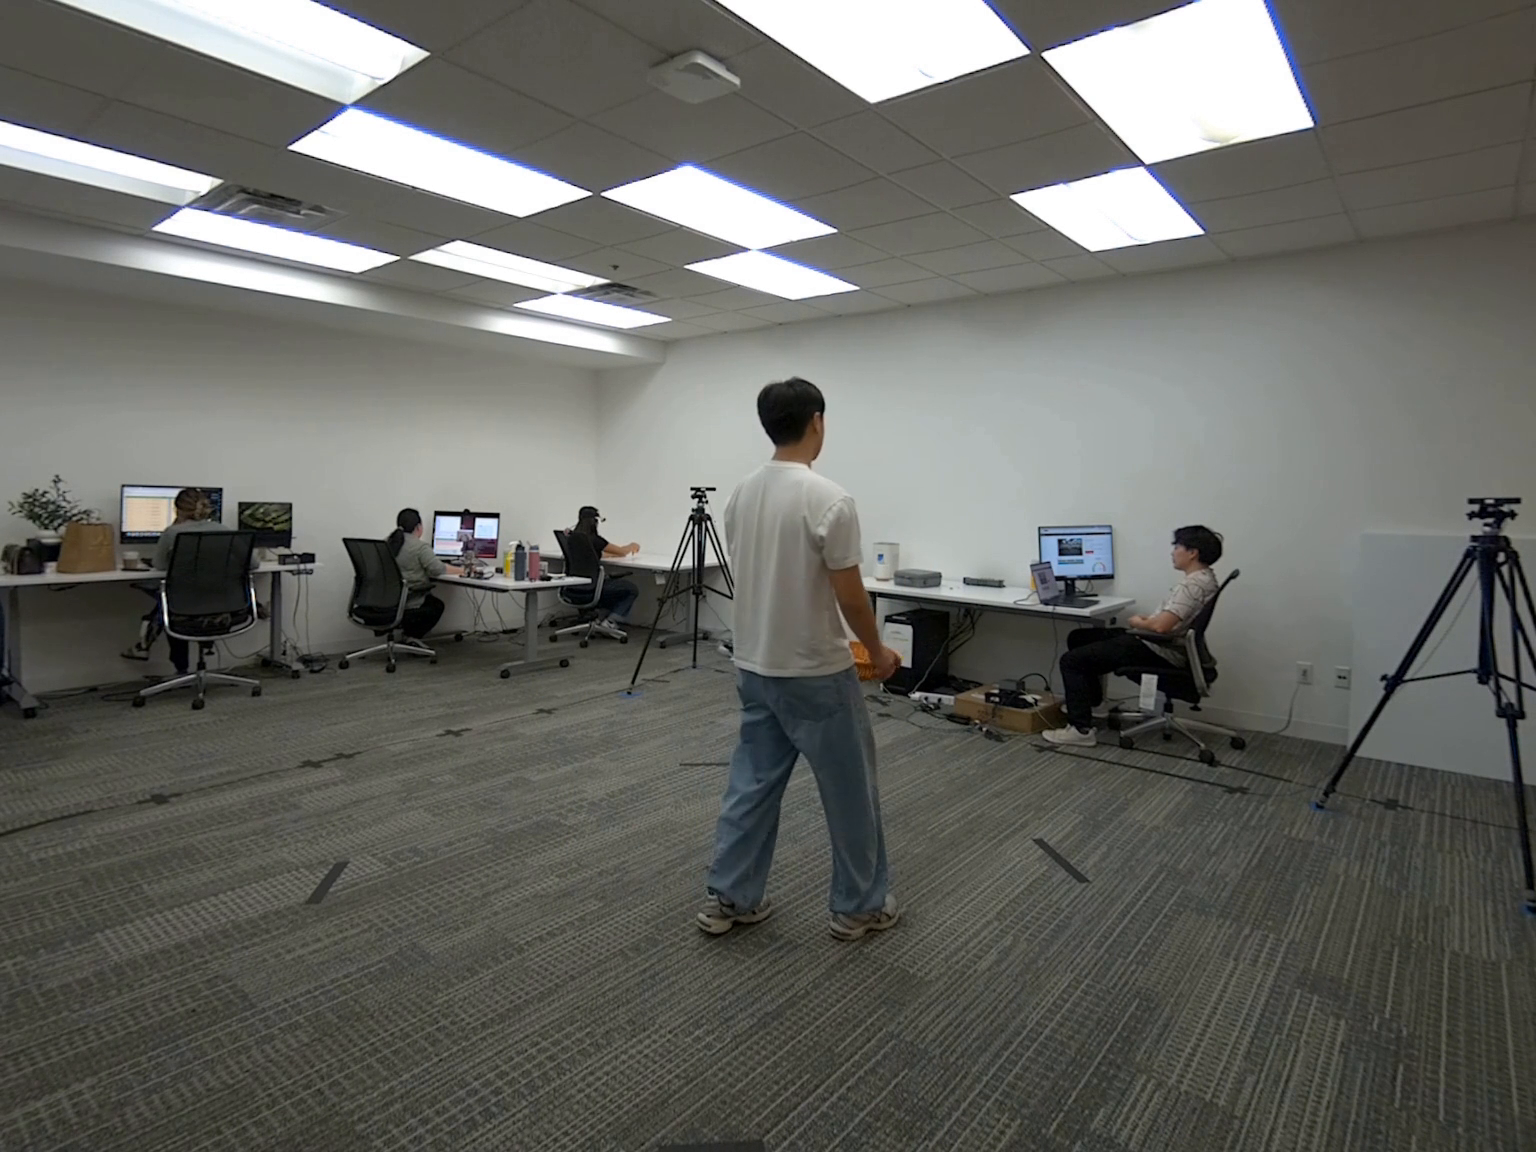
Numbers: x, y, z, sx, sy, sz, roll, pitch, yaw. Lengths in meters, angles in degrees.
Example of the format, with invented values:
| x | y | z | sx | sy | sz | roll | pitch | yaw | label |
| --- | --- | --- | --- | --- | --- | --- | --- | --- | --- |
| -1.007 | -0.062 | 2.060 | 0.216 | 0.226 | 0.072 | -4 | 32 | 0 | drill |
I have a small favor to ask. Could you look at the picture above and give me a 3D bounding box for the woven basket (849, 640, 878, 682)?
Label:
| x | y | z | sx | sy | sz | roll | pitch | yaw | label |
| --- | --- | --- | --- | --- | --- | --- | --- | --- | --- |
| 0.271 | 0.284 | 2.841 | 0.245 | 0.073 | 0.363 | -6 | 11 | -44 | woven basket |
